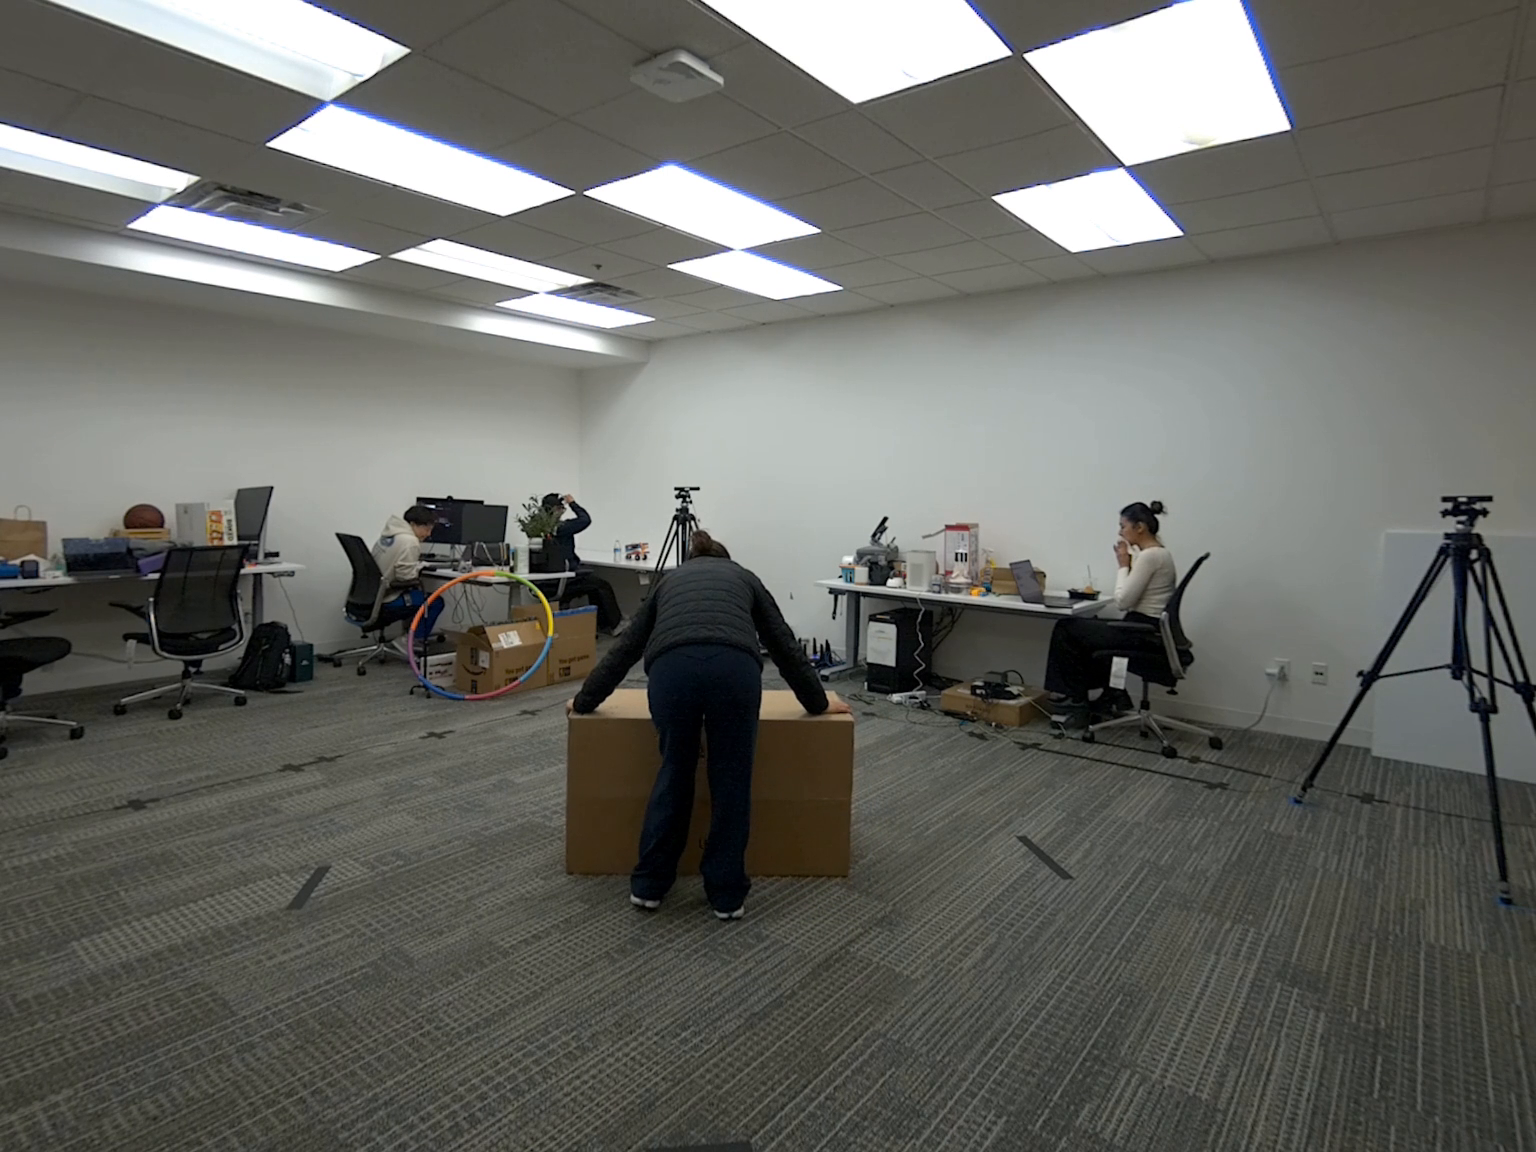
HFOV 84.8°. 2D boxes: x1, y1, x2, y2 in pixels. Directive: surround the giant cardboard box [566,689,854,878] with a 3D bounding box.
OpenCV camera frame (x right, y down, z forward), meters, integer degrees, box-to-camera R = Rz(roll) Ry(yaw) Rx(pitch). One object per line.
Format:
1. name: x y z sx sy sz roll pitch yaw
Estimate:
1. giant cardboard box: -0.215 0.764 3.262 1.027 0.581 0.449 1 6 0
